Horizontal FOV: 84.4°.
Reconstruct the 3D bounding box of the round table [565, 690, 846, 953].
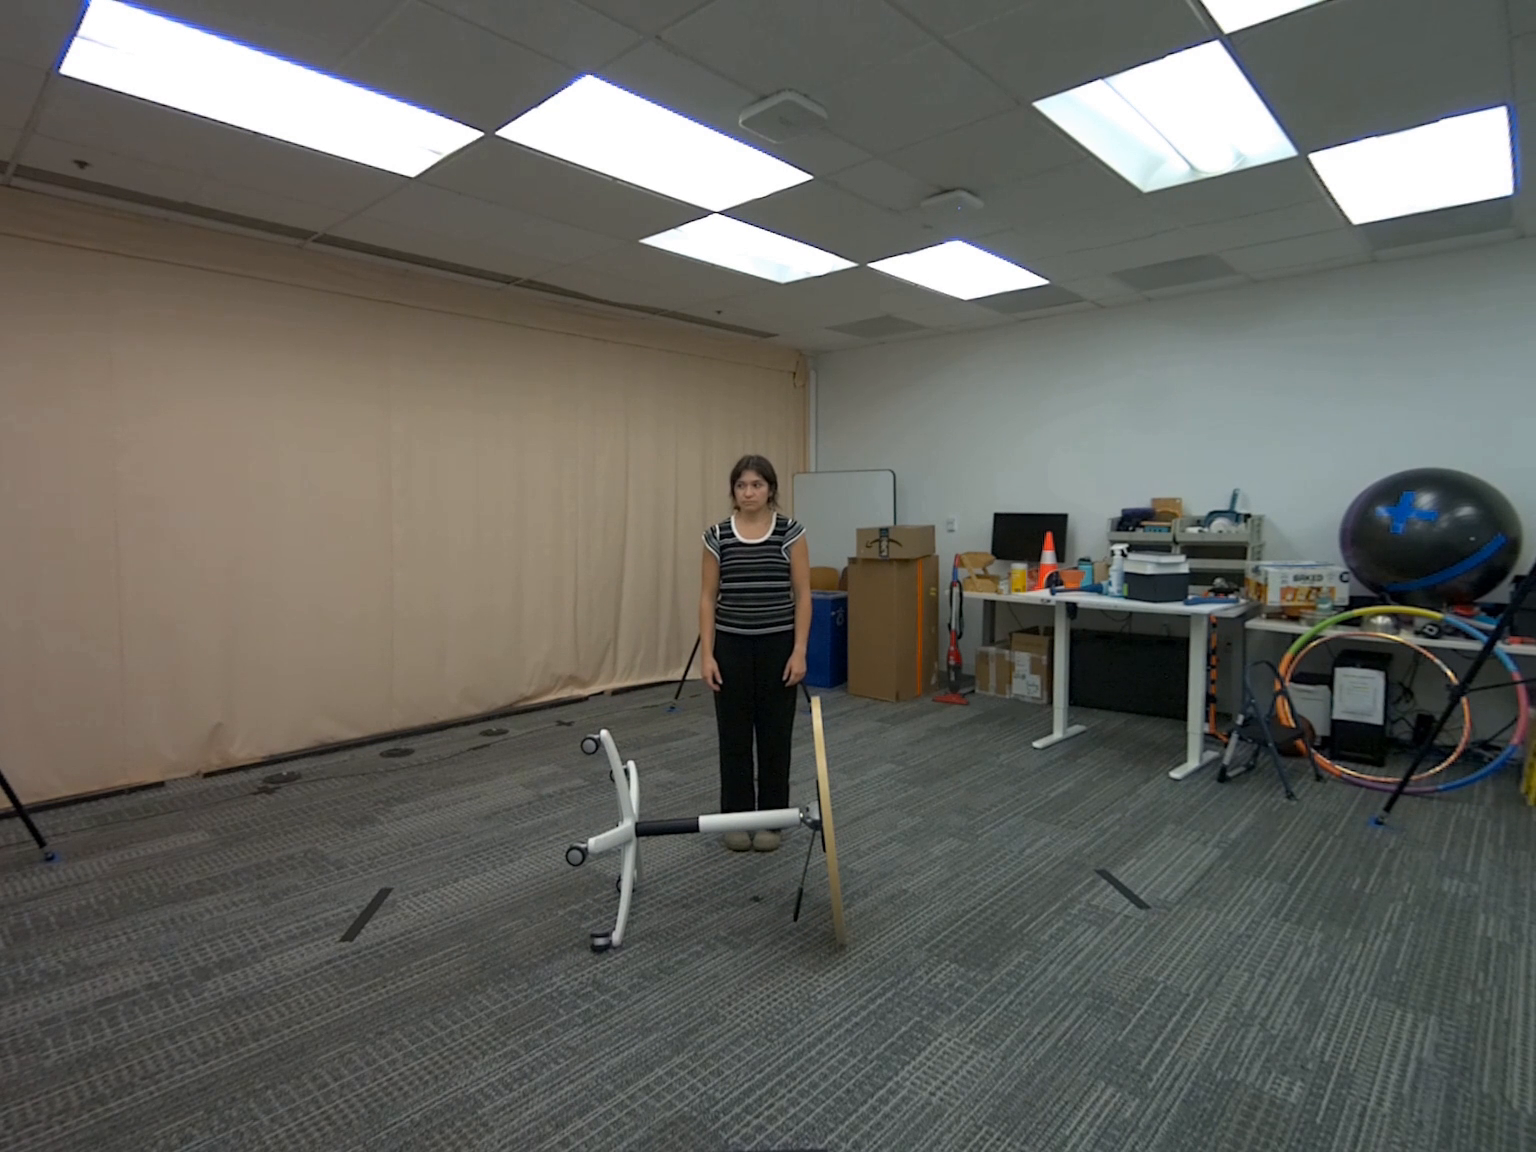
[{"bbox_3d":[-0.187,0.831,2.787,0.798,0.762,0.762,-6,3,4],"label":"round table"}]
